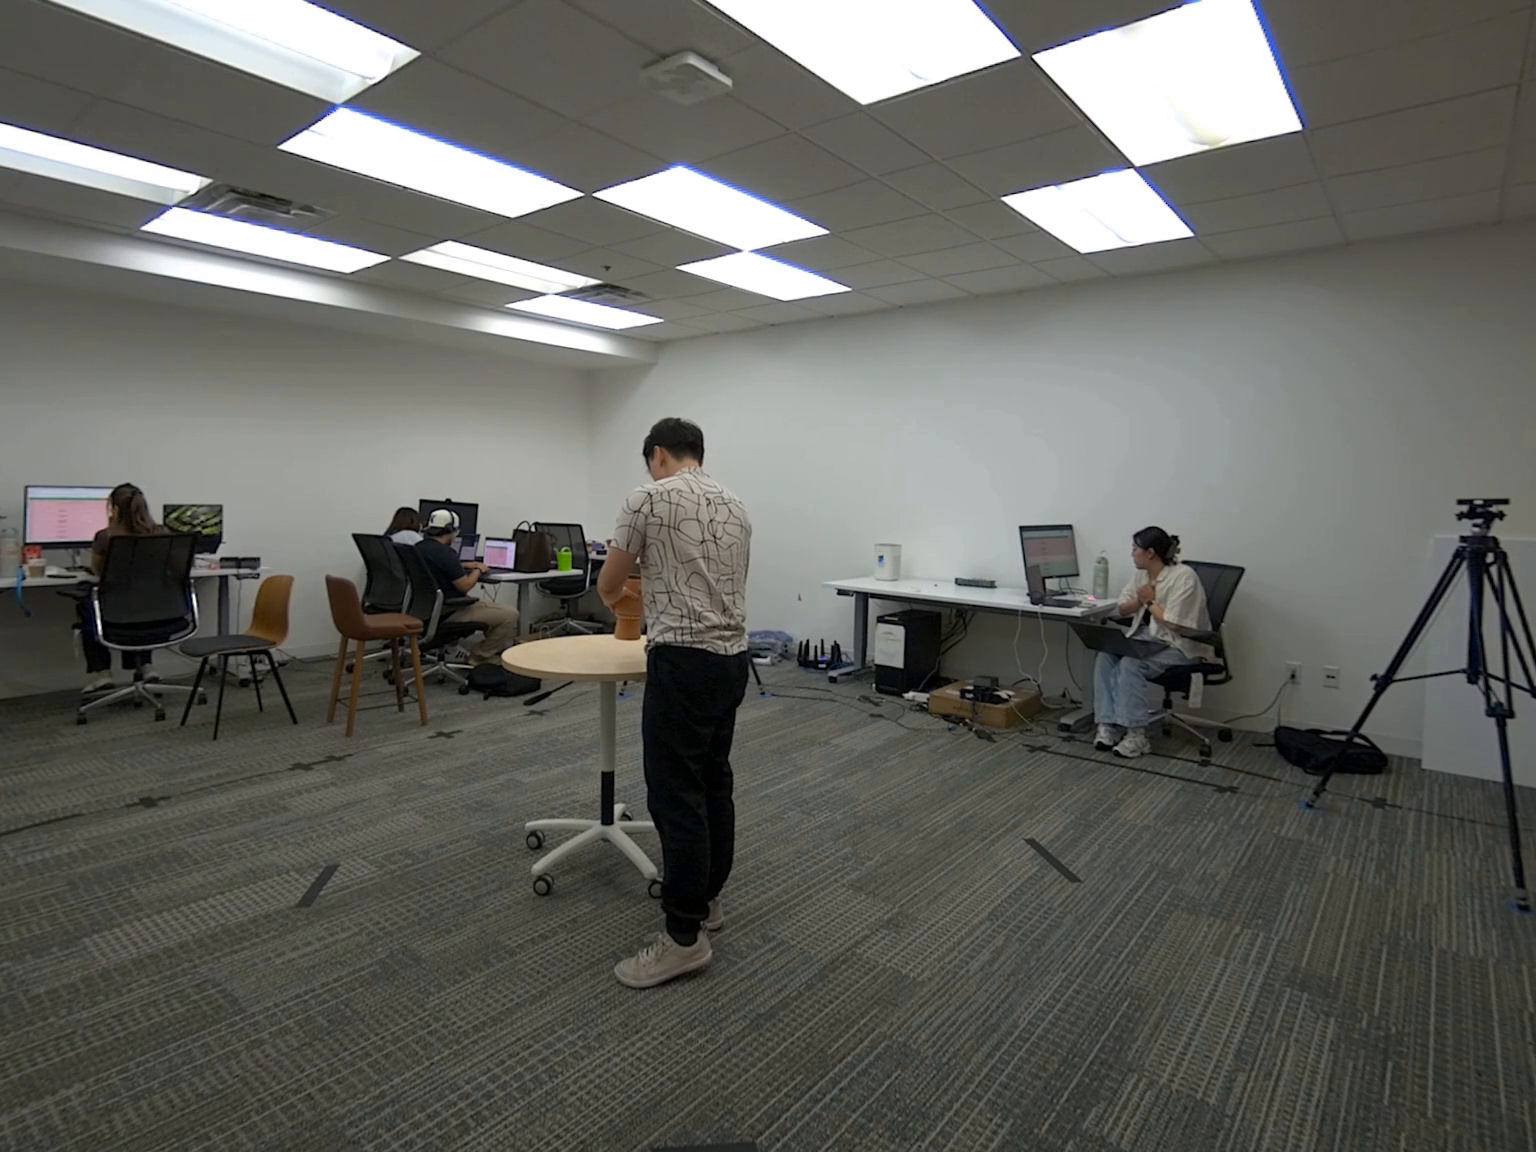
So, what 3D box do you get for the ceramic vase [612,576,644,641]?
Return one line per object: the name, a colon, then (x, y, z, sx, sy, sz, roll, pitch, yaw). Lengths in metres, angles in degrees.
ceramic vase: (-0.517, 0.112, 3.043, 0.135, 0.219, 0.159, 7, 5, 1)
